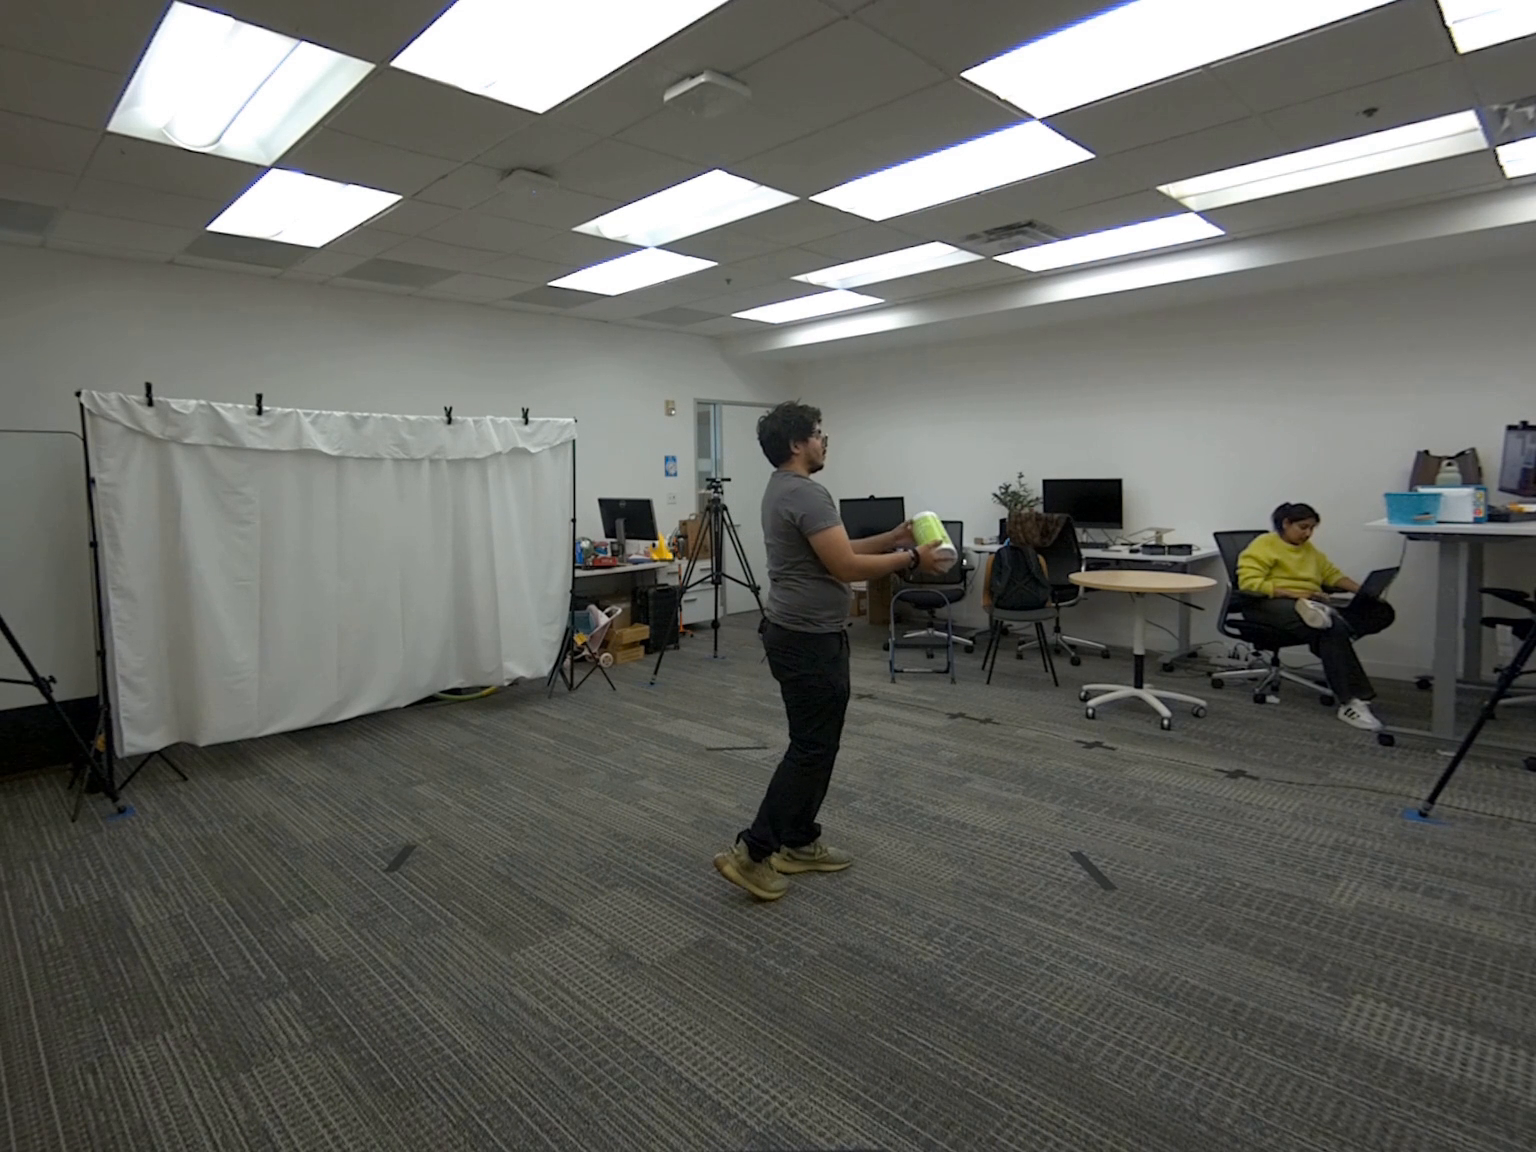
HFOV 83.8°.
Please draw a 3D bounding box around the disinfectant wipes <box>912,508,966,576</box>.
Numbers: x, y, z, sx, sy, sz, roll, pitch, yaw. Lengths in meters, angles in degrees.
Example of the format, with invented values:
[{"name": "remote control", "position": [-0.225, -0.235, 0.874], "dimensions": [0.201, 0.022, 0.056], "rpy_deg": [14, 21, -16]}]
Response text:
[{"name": "disinfectant wipes", "position": [0.583, -0.121, 2.971], "dimensions": [0.117, 0.115, 0.224], "rpy_deg": [-2, 41, -5]}]
